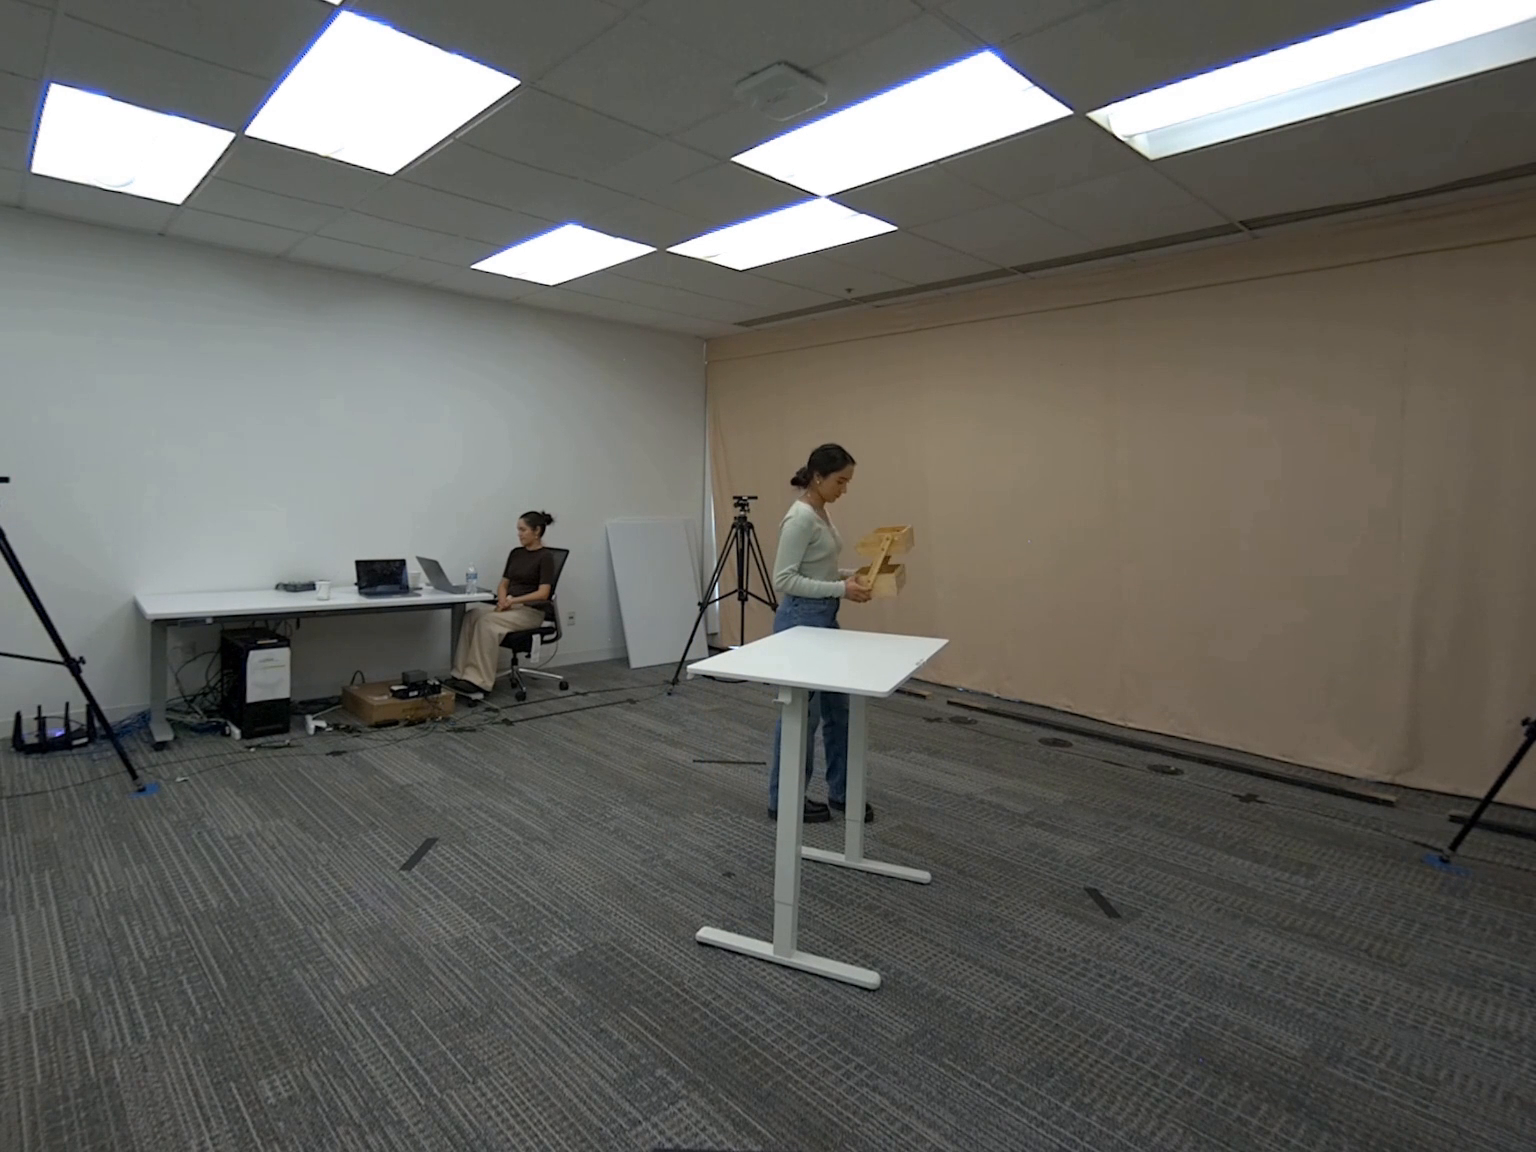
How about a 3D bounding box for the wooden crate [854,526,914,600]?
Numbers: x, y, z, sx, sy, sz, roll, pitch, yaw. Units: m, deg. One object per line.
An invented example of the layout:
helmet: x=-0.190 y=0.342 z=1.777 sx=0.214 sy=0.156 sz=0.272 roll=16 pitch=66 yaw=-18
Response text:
wooden crate: x=0.442 y=-0.075 z=3.597 sx=0.306 sy=0.272 sz=0.321 roll=0 pitch=8 yaw=18
